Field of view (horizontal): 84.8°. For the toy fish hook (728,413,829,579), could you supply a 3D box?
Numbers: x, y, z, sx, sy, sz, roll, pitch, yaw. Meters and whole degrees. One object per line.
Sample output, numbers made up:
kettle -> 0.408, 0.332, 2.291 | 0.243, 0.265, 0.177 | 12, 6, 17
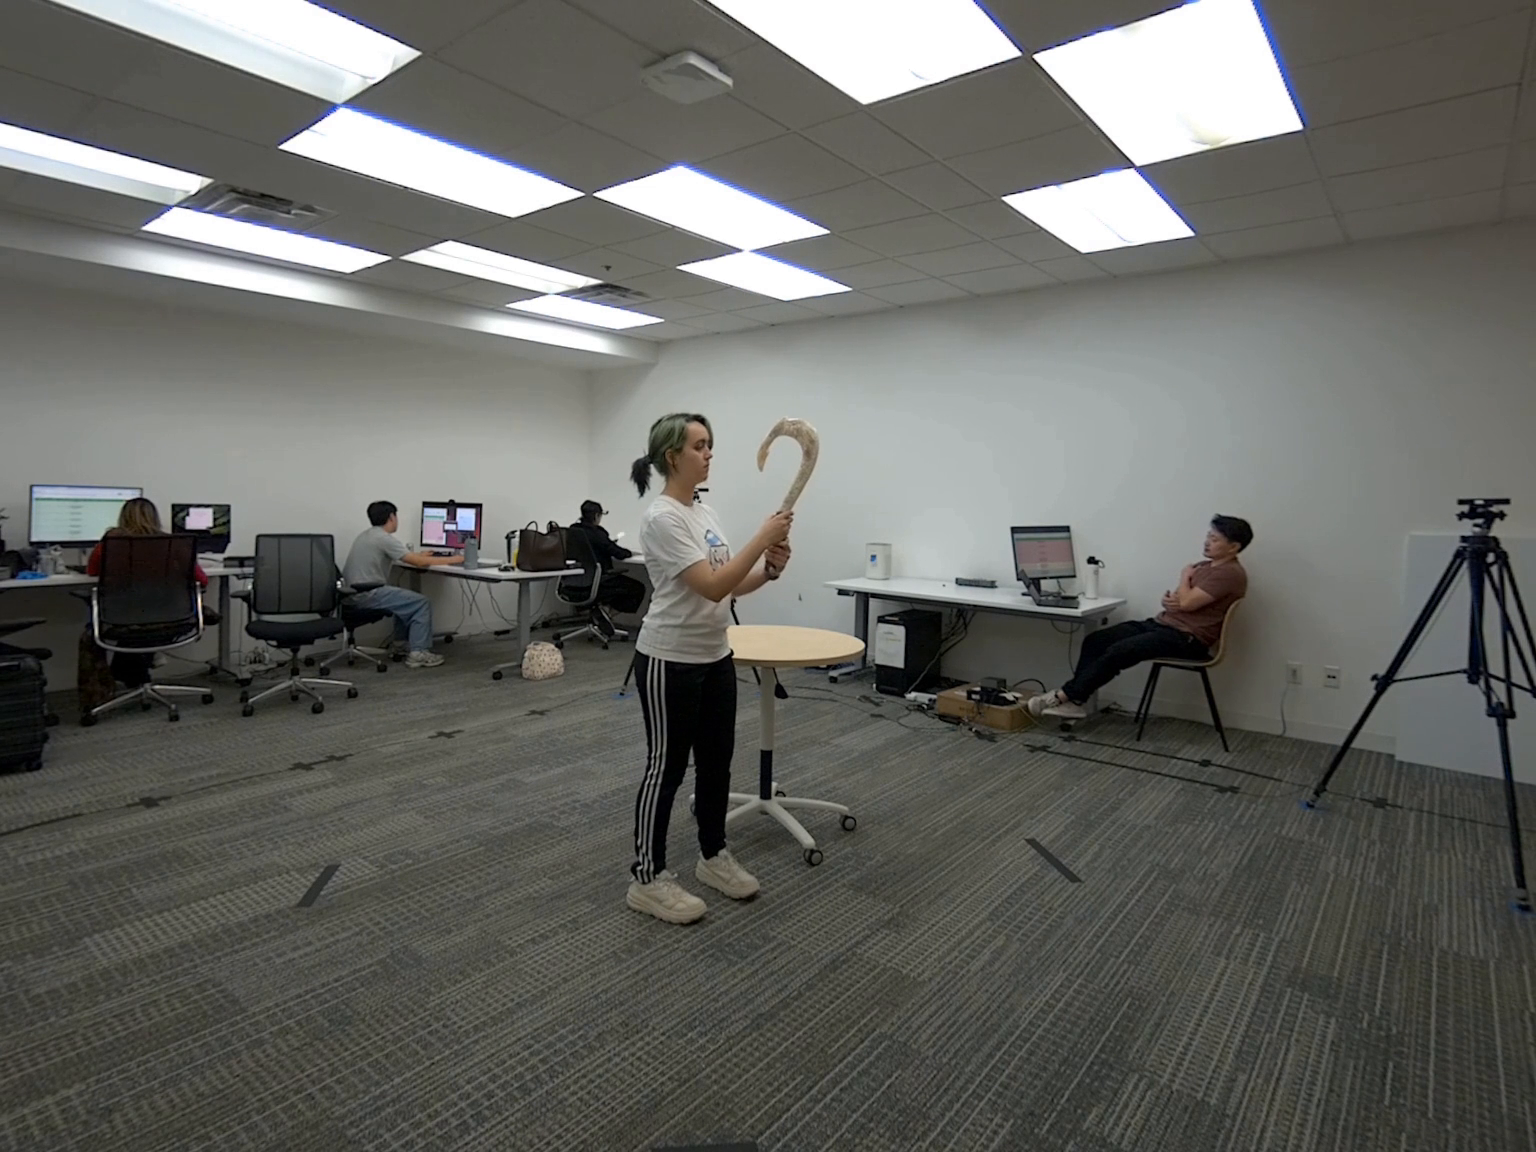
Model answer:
toy fish hook -> 0.021, -0.270, 2.768 | 0.233, 0.506, 0.046 | 19, 3, 38
